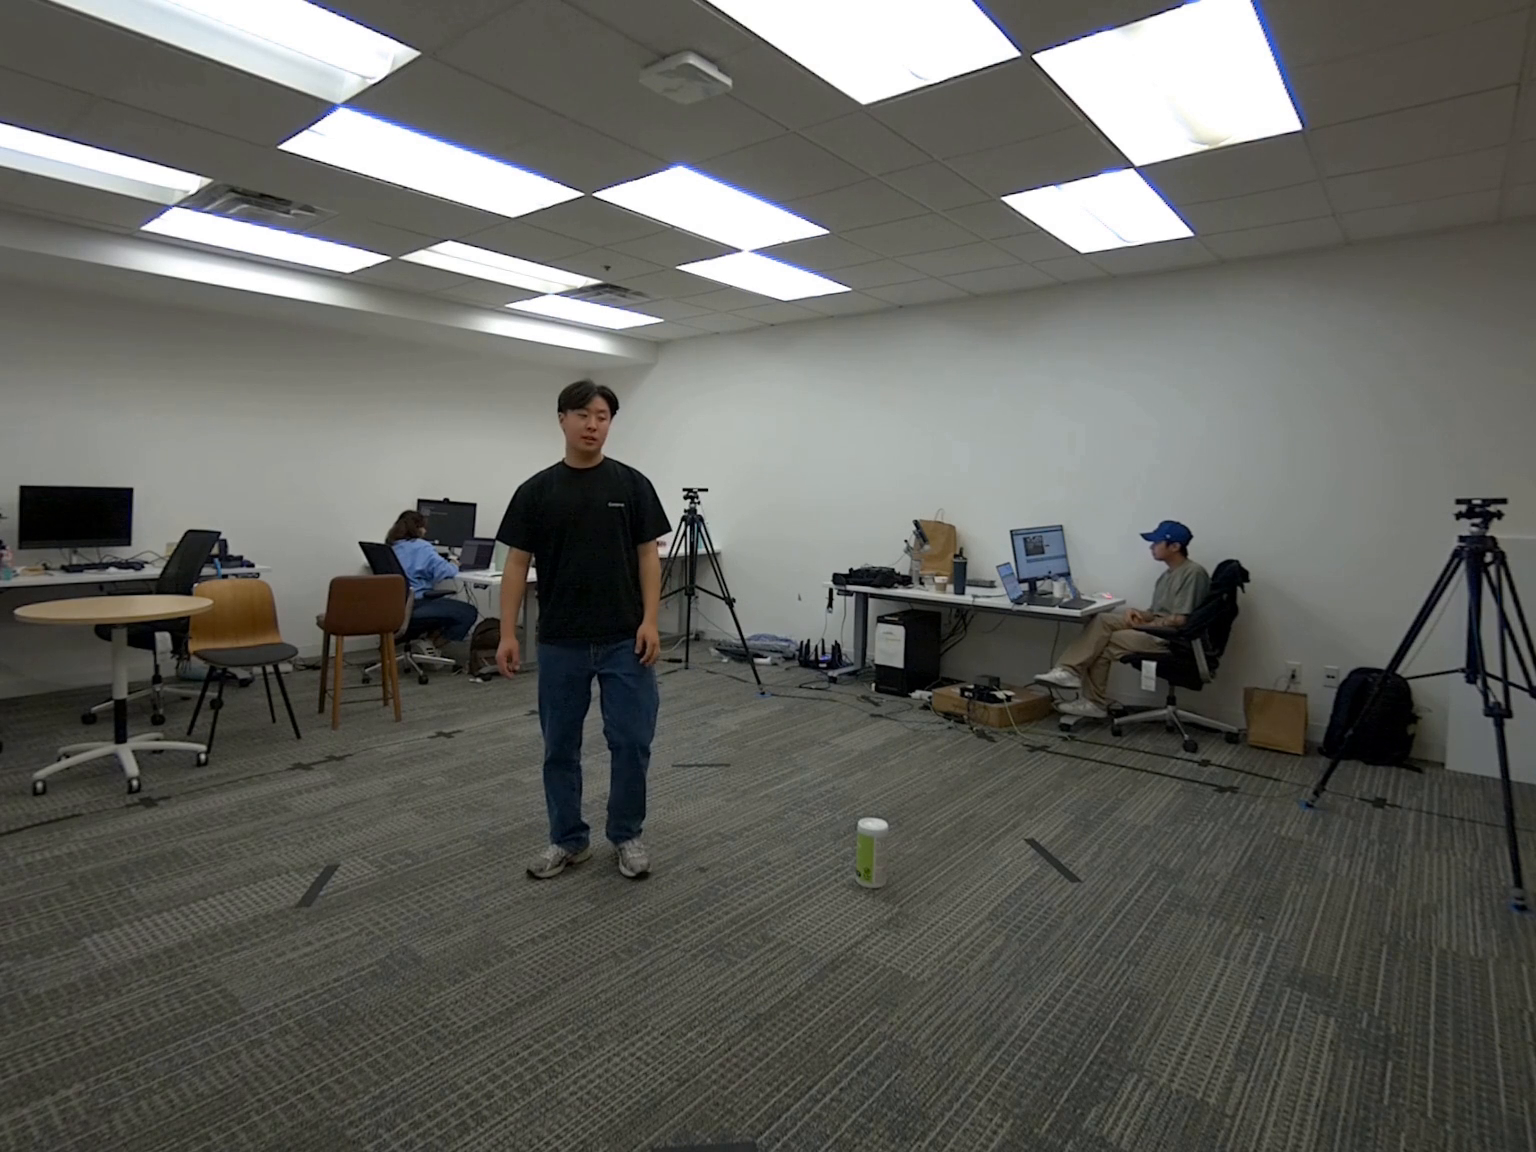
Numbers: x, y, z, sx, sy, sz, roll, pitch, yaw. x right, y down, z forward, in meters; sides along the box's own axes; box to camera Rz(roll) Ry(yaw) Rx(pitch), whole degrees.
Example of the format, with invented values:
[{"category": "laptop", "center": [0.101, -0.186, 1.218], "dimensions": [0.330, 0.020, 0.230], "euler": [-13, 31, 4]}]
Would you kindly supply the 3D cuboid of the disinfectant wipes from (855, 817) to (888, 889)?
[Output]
[{"category": "disinfectant wipes", "center": [0.373, 0.984, 3.036], "dimensions": [0.117, 0.217, 0.118], "euler": [1, 4, -2]}]
